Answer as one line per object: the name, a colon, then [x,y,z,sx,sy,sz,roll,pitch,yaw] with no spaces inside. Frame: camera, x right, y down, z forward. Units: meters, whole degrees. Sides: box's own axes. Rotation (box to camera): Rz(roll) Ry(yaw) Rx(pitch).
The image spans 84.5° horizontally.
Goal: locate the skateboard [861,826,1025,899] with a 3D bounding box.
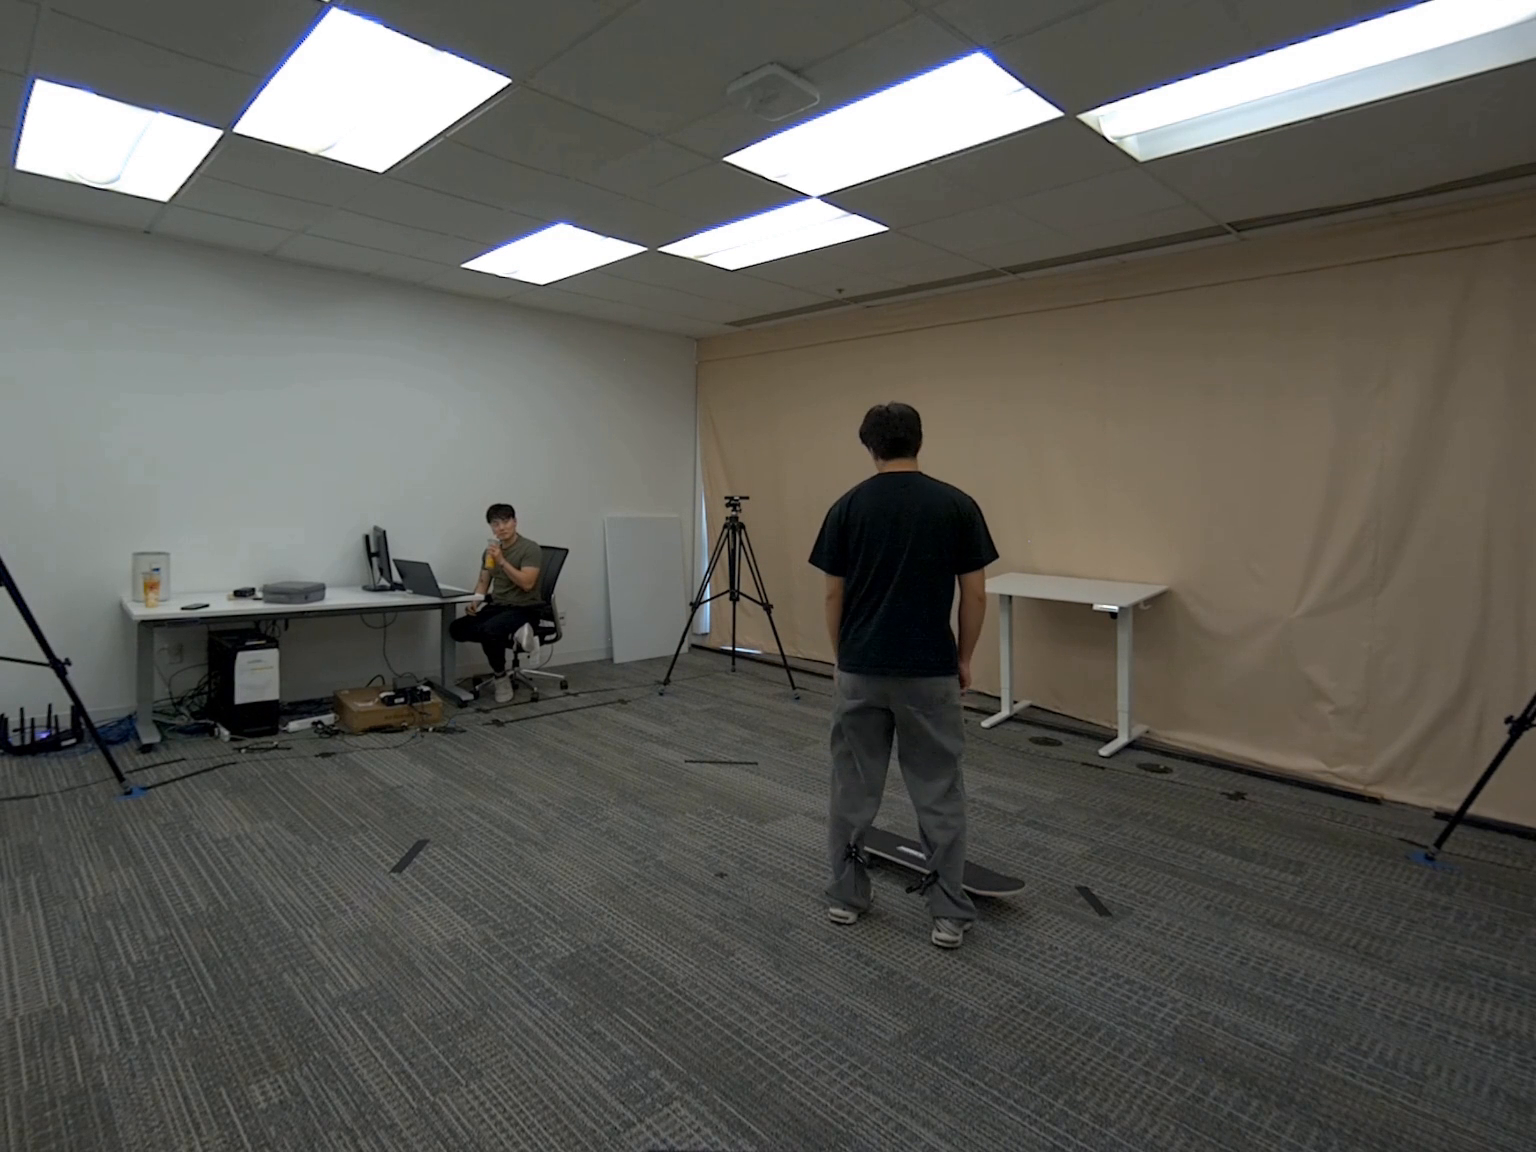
skateboard: [0.558,1.067,3.103,0.189,0.110,0.806,-1,6,-44]
